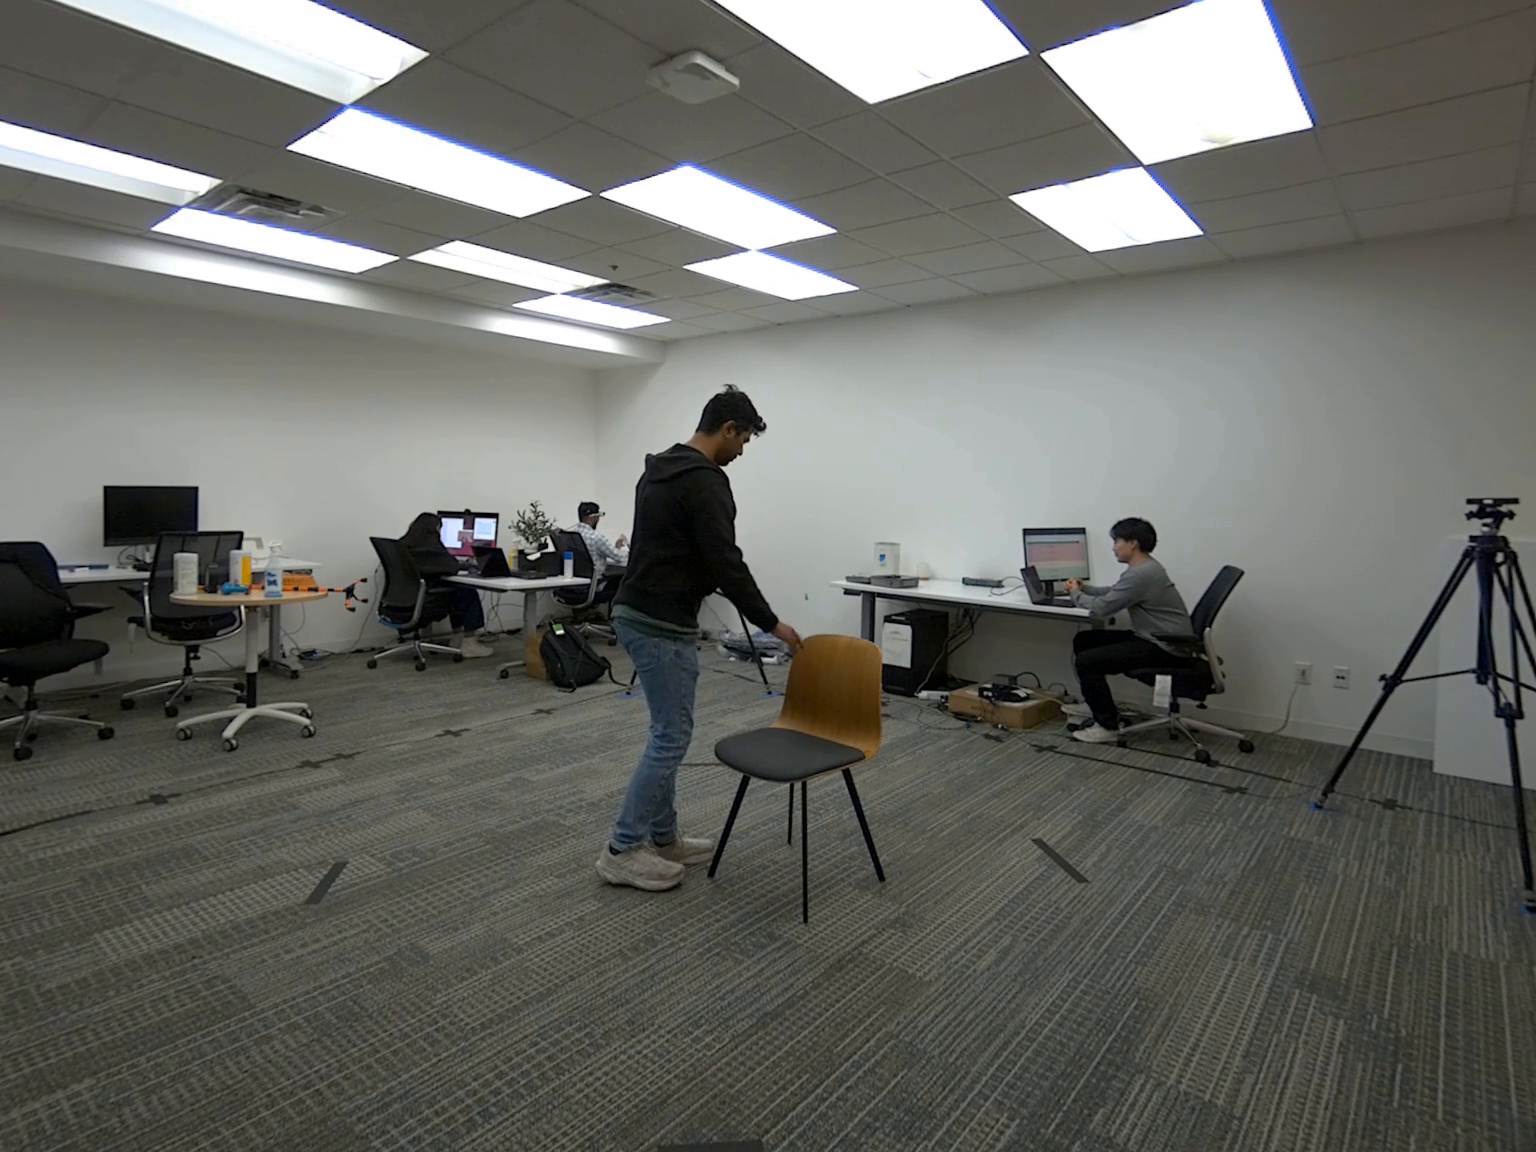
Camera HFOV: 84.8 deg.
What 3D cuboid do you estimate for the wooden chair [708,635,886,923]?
[{"bbox_3d":[0.099,0.659,3.009,0.494,0.877,0.506,5,1,43],"label":"wooden chair"}]
